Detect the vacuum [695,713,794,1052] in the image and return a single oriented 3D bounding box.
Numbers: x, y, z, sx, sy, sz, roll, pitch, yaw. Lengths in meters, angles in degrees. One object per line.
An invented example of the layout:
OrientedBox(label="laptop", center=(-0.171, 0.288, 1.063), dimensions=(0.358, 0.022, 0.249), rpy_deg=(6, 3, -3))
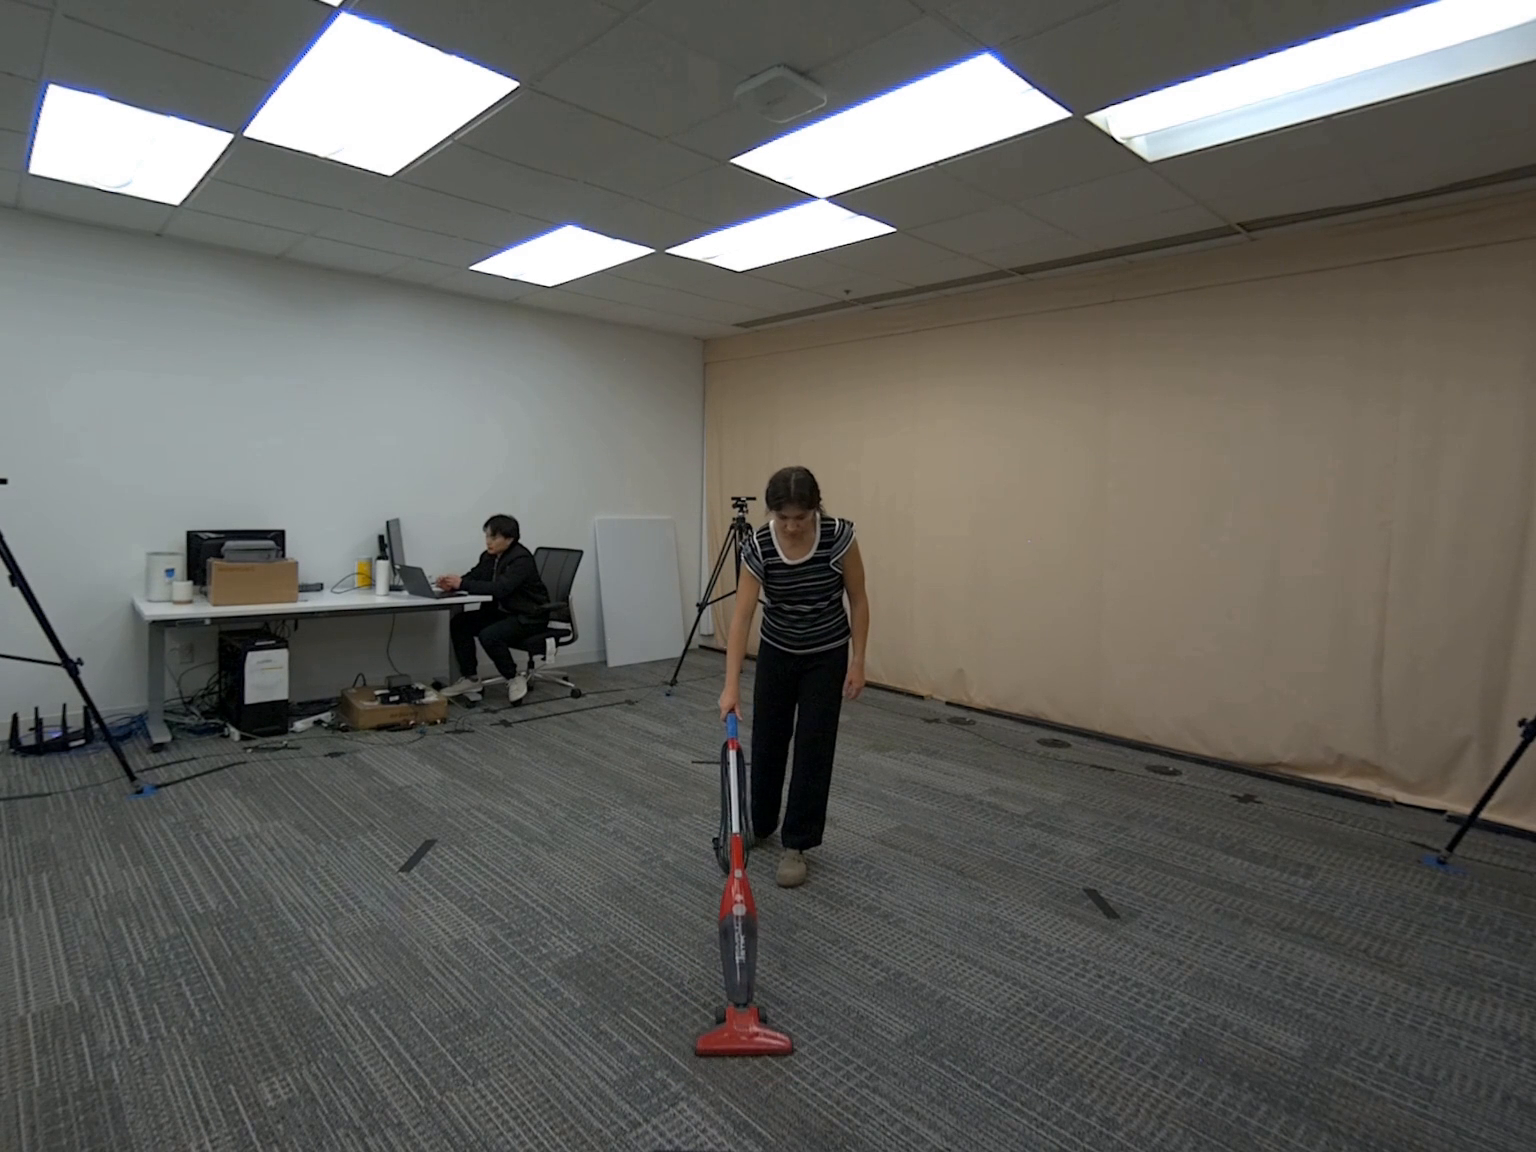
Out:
OrientedBox(label="vacuum", center=(-0.105, 0.809, 2.566), dimensions=(0.251, 0.141, 1.074), rpy_deg=(3, 42, -7))
